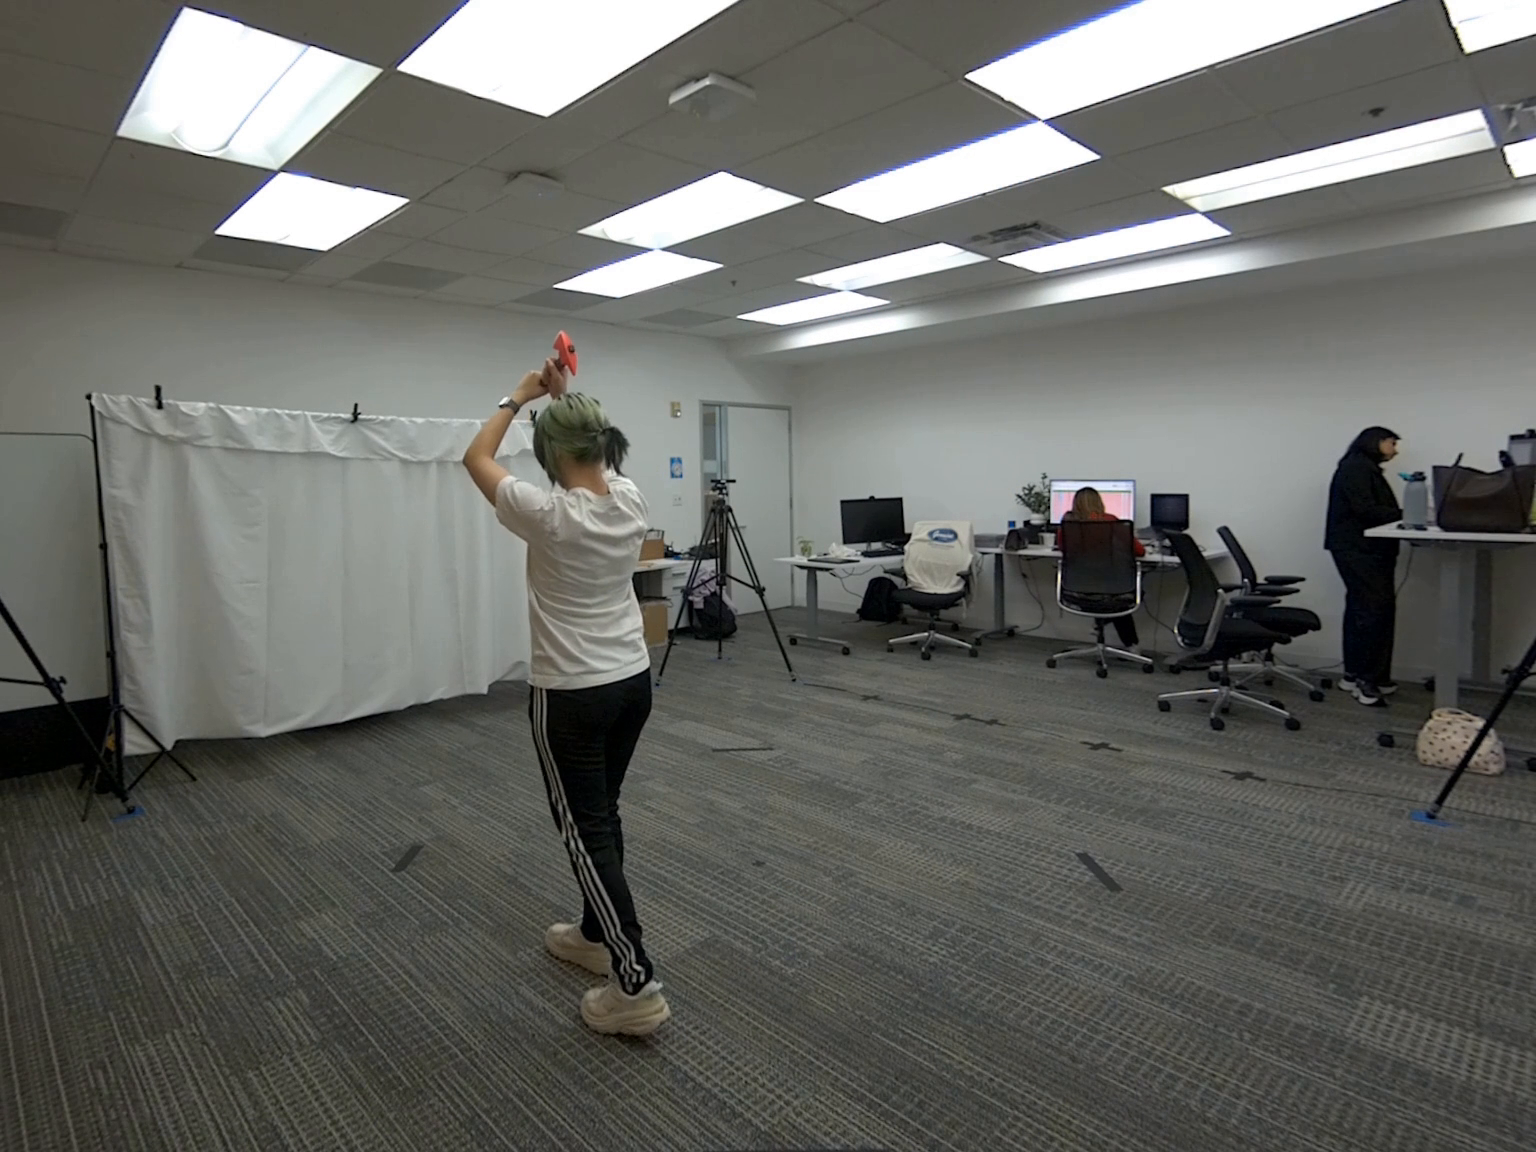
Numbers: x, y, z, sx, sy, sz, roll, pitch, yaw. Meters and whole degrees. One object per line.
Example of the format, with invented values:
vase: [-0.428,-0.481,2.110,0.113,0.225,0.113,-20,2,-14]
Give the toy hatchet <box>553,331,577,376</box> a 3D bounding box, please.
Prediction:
toy hatchet: [-0.601,-0.596,2.368,0.029,0.130,0.277,-10,6,-41]
